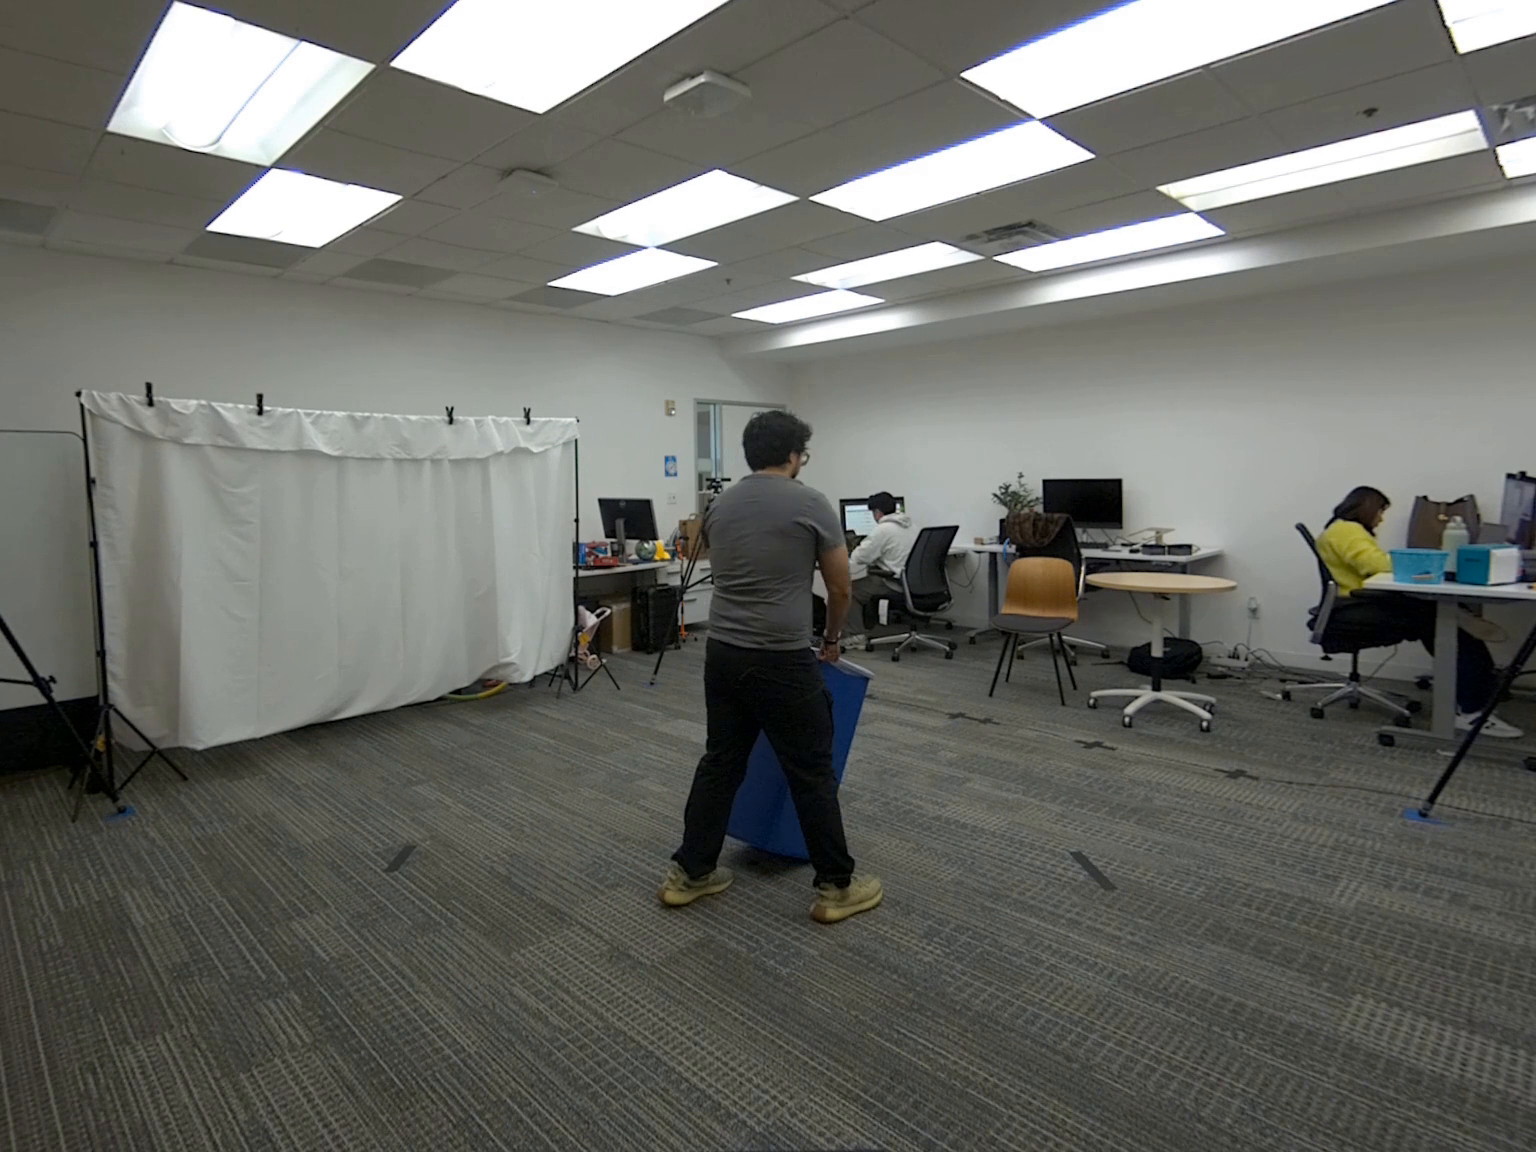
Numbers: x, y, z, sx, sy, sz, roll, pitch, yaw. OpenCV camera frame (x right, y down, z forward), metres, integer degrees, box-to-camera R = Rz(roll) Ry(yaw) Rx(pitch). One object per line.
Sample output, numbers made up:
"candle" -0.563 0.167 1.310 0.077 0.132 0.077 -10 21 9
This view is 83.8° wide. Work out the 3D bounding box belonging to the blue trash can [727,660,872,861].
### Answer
"blue trash can" 0.086 0.642 3.192 0.390 0.719 0.360 4 -18 42
